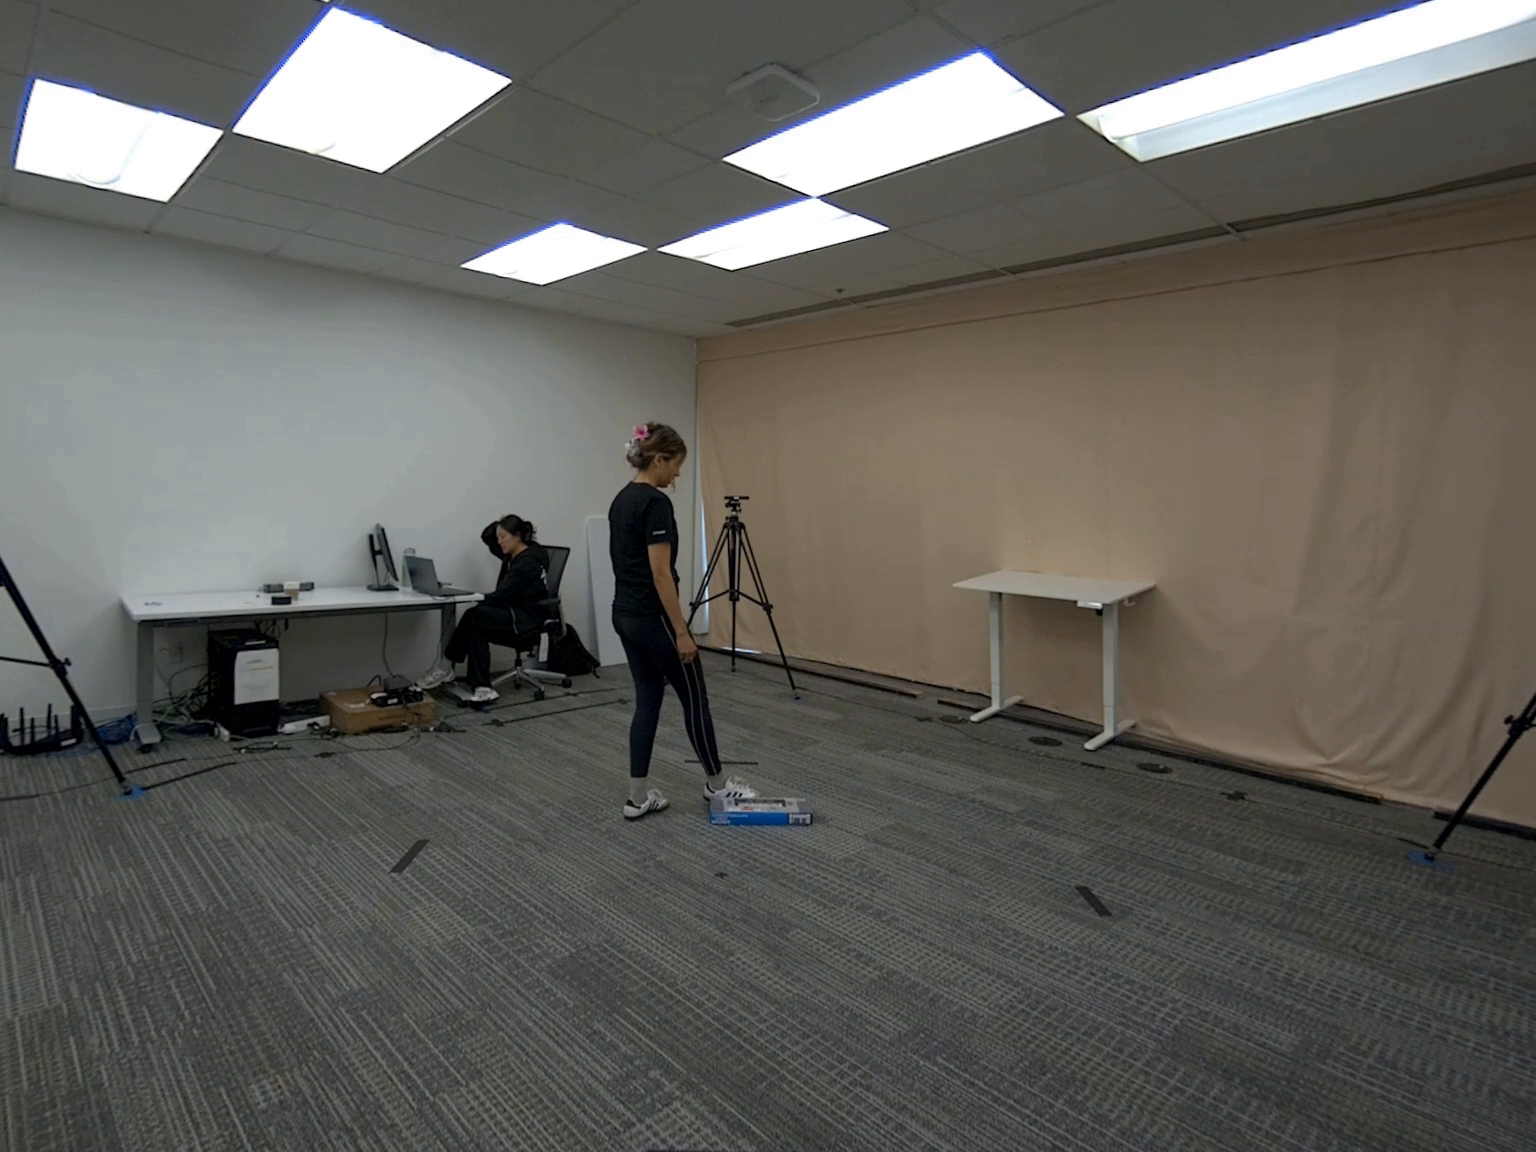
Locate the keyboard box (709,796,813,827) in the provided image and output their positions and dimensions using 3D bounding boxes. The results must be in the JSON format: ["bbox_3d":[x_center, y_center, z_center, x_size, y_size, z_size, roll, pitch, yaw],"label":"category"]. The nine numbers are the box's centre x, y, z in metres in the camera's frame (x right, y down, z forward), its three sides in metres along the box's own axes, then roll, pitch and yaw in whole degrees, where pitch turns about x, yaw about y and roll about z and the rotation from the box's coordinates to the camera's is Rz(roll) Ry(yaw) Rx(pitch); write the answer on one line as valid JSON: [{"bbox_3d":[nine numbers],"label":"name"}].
[{"bbox_3d":[-0.040,1.027,3.673,0.436,0.059,0.176,2,5,-1],"label":"keyboard box"}]
